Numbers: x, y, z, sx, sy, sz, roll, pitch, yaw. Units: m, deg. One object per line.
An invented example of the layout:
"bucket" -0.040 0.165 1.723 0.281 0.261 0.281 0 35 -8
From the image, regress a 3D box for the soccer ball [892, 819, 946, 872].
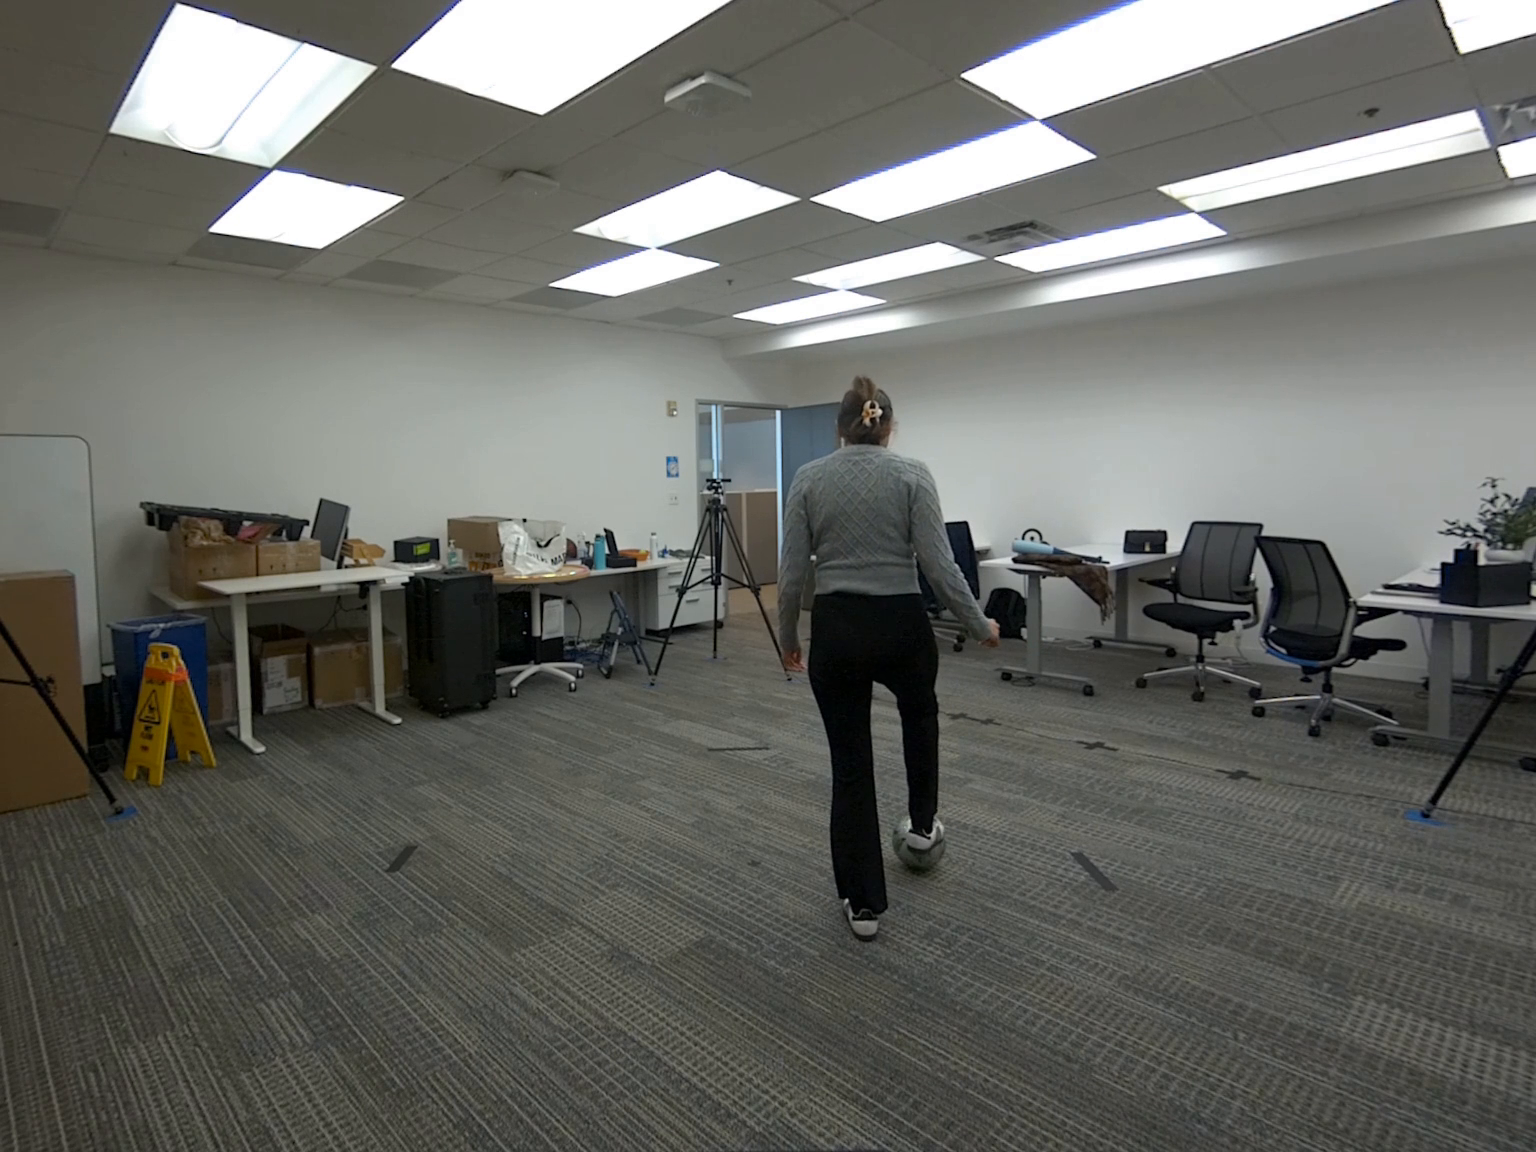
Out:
"soccer ball" 0.535 0.952 3.048 0.187 0.187 0.188 -1 5 -2
